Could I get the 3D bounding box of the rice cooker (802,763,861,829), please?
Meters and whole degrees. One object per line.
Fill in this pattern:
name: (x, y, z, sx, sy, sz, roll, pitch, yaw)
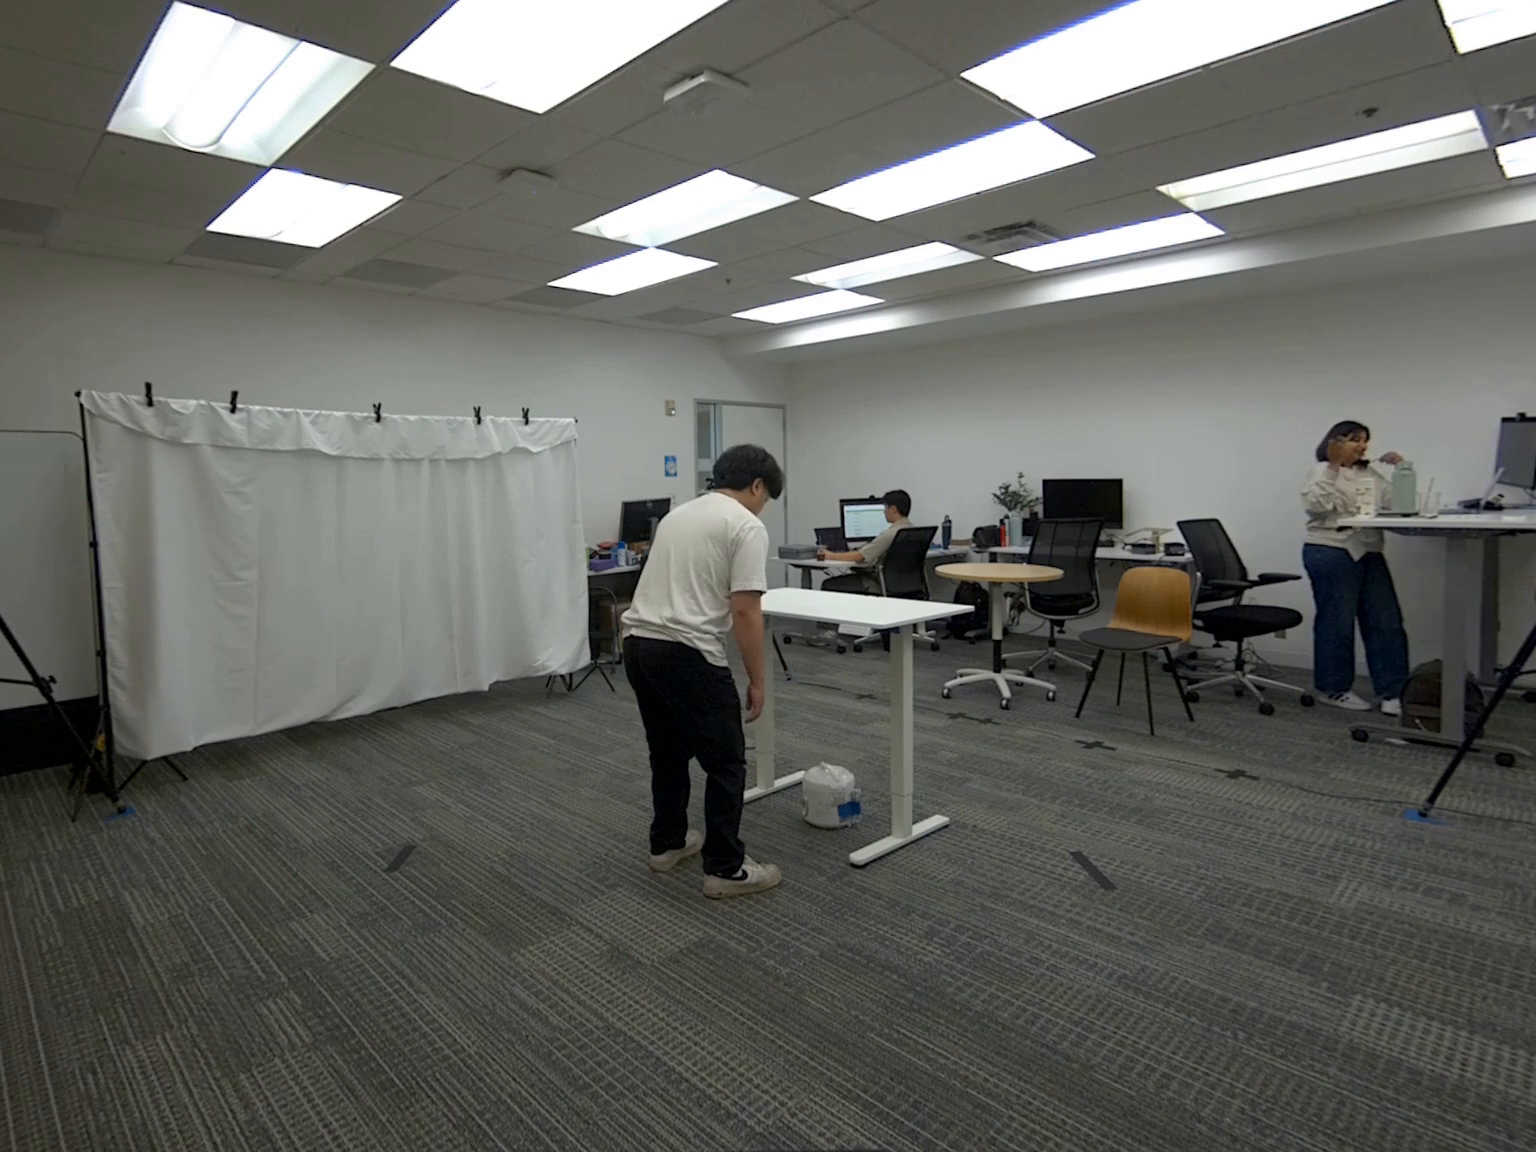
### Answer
rice cooker: (0.245, 0.880, 3.465, 0.214, 0.232, 0.225, -2, 5, -16)
